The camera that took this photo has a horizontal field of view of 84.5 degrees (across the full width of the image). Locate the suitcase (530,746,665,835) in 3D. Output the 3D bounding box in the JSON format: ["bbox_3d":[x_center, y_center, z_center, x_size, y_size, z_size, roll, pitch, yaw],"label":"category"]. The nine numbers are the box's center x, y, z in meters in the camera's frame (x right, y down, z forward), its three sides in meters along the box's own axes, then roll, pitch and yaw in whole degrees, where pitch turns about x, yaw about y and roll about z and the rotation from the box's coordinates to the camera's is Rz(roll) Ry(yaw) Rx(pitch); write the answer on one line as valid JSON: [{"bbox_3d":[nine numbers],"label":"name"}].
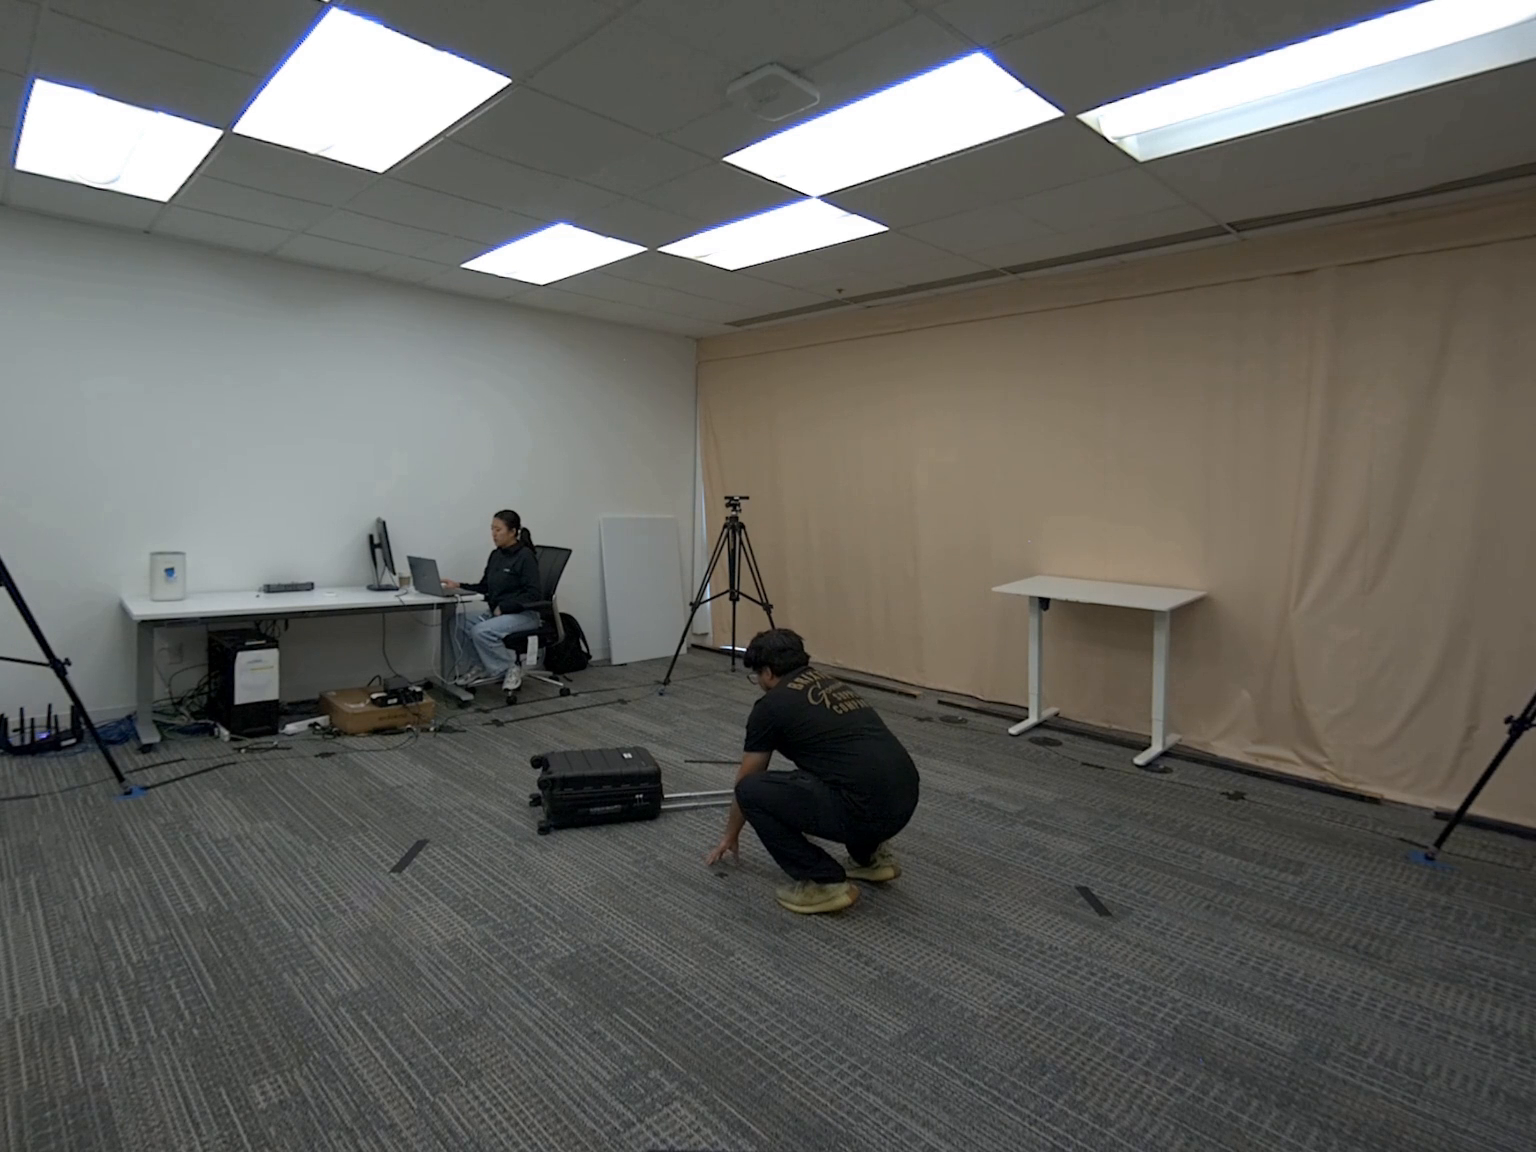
[{"bbox_3d":[-0.561,0.912,3.750,0.964,0.256,0.390,-2,4,-19],"label":"suitcase"}]
